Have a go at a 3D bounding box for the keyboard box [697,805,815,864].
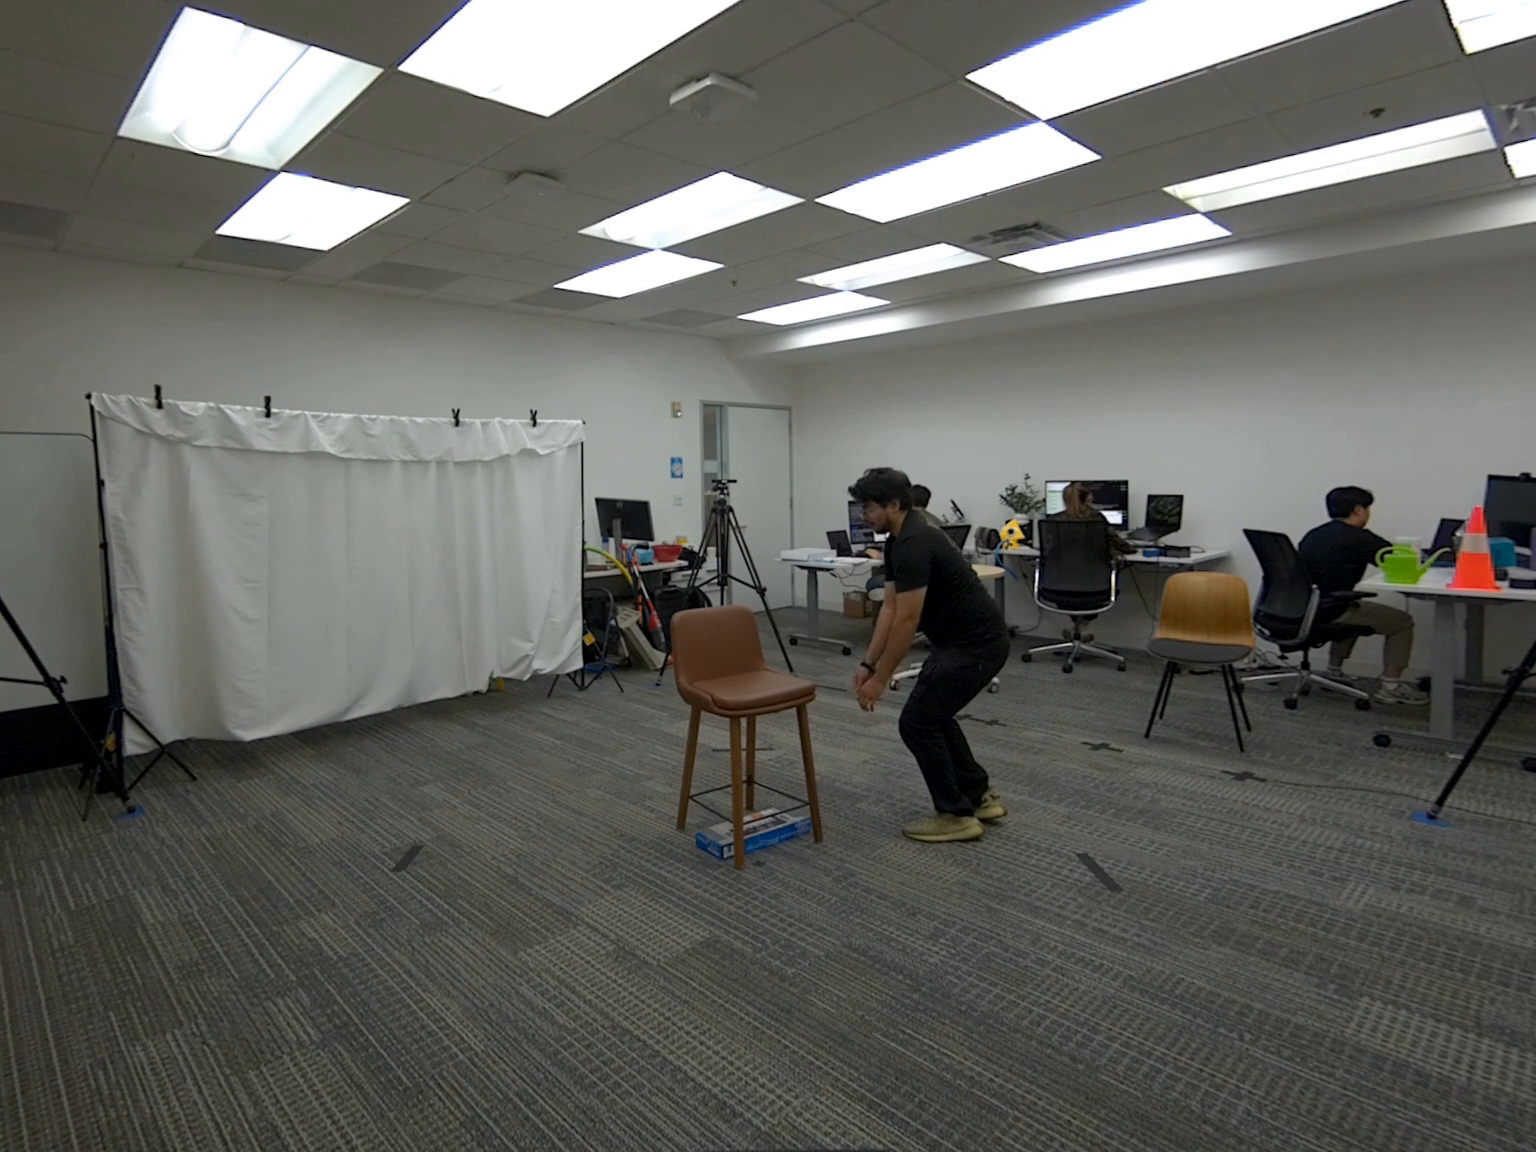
[{"bbox_3d":[-0.045,0.996,3.327,0.426,0.059,0.181,-6,7,-37],"label":"keyboard box"}]
